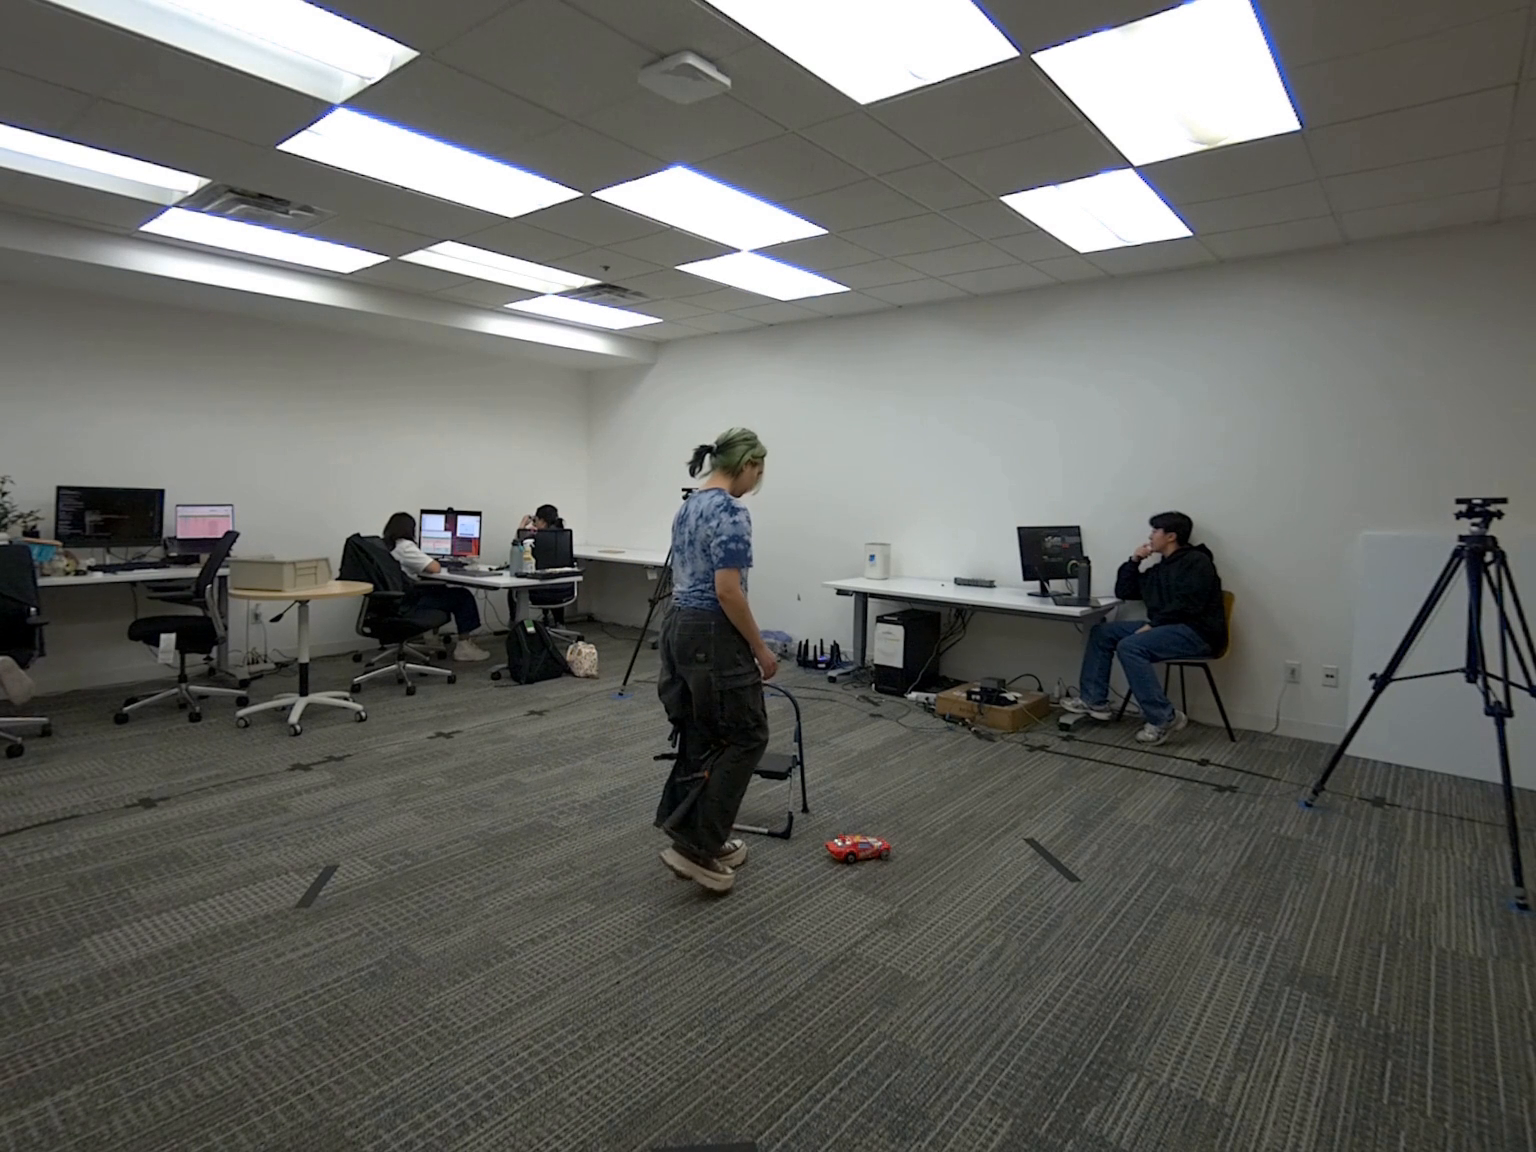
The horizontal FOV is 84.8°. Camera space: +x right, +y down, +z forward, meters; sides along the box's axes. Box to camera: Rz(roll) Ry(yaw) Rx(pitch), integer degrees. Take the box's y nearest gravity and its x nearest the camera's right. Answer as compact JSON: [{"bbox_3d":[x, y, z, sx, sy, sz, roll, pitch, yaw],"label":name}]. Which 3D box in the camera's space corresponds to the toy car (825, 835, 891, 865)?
[{"bbox_3d":[0.337,1.039,3.240,0.249,0.083,0.133,10,0,-18],"label":"toy car"}]
